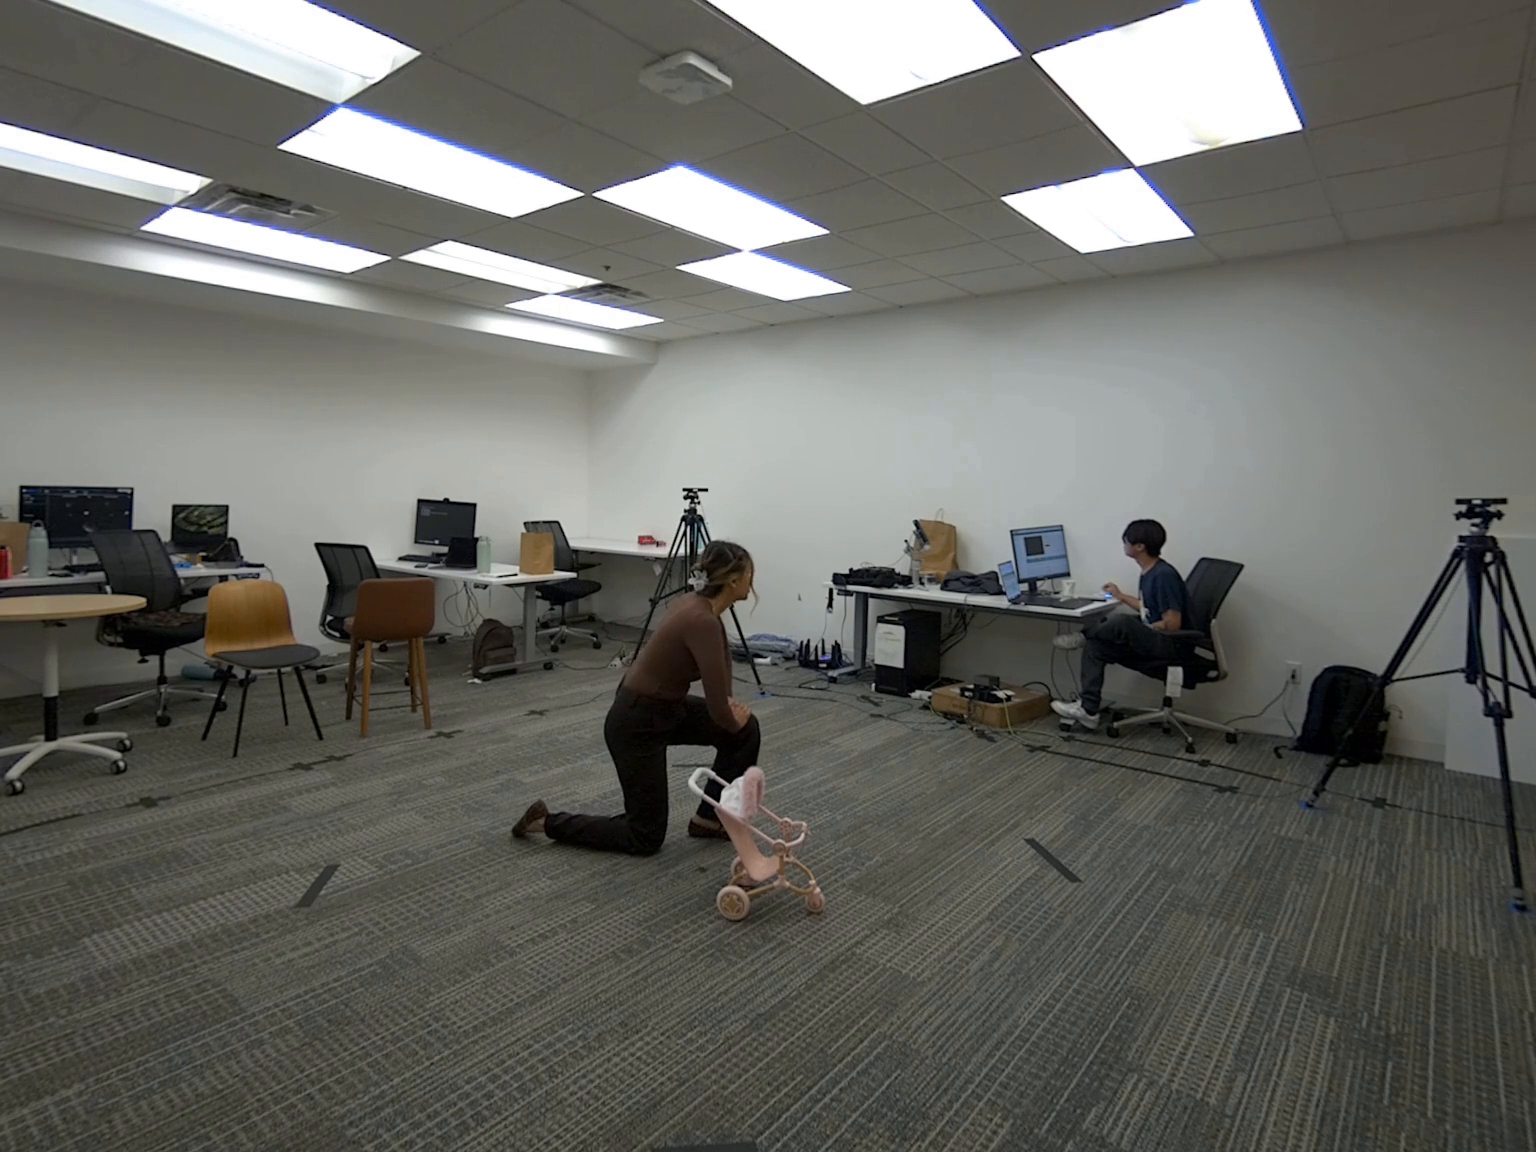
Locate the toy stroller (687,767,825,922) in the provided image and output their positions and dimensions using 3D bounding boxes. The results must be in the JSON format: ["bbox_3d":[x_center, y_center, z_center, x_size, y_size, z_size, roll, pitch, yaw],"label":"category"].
[{"bbox_3d":[-0.040,0.875,2.842,0.345,0.536,0.278,-16,-1,15],"label":"toy stroller"}]
